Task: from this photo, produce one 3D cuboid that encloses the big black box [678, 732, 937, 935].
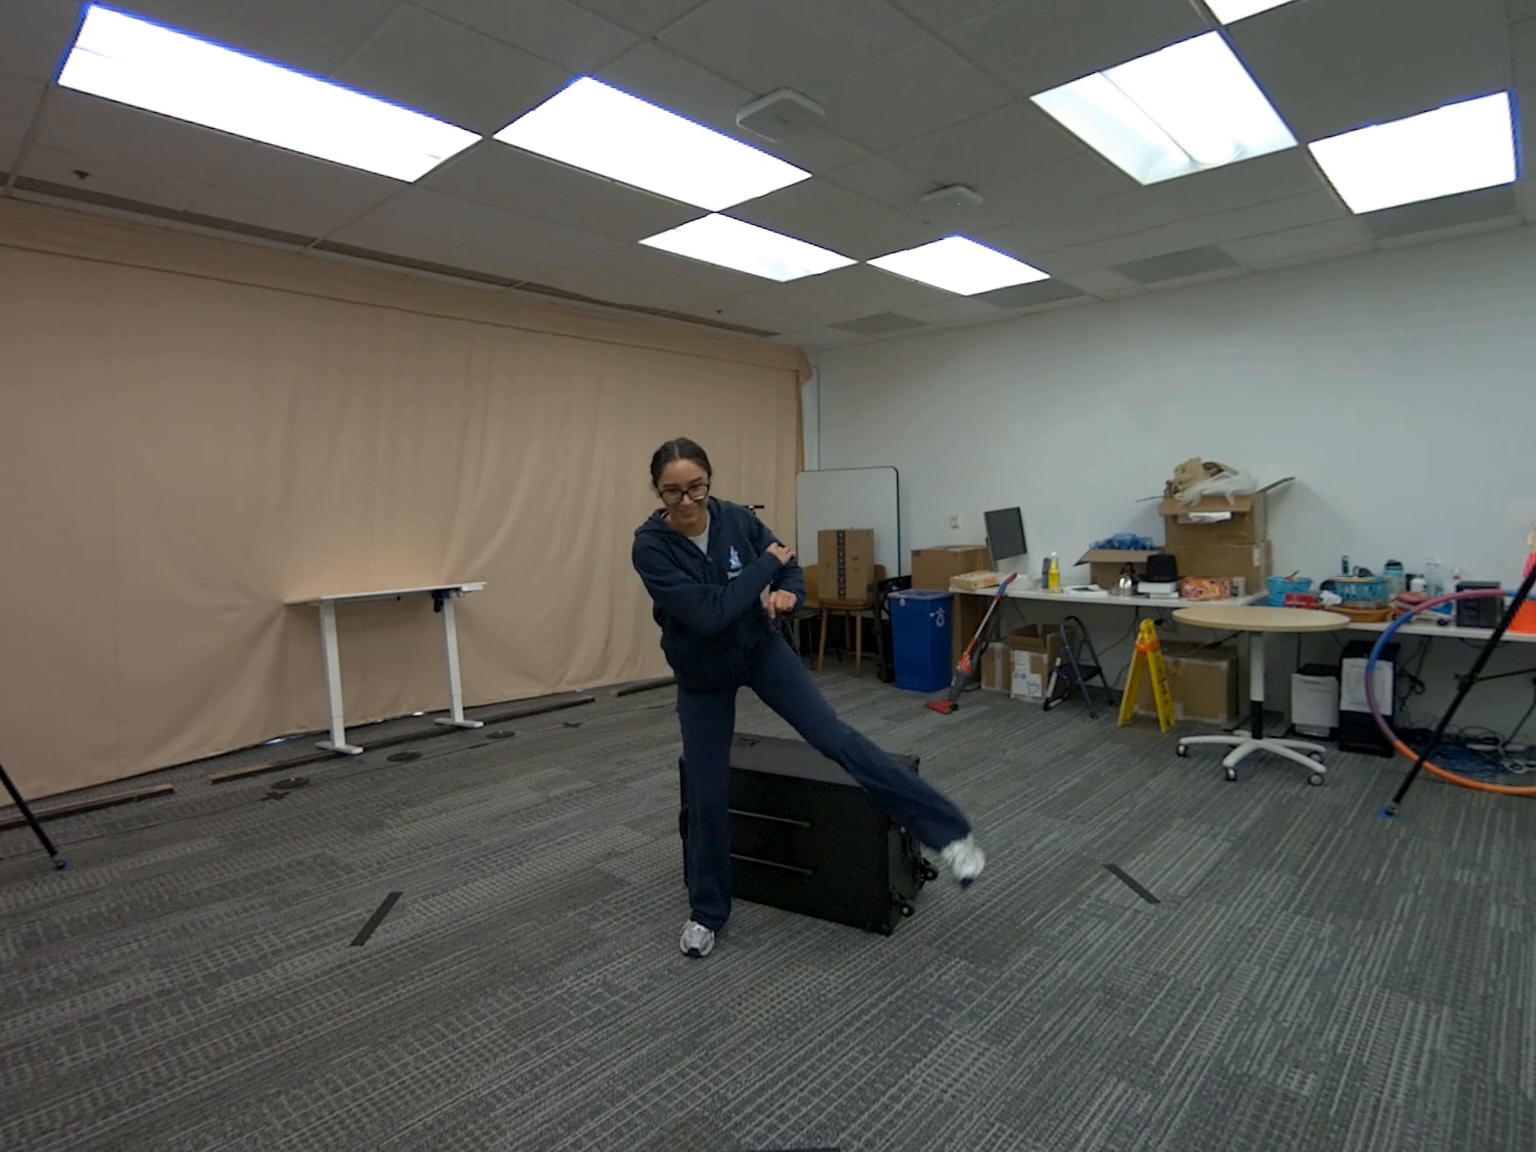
[{"bbox_3d":[0.139,0.883,2.997,0.885,0.519,0.387,1,7,28],"label":"big black box"}]
